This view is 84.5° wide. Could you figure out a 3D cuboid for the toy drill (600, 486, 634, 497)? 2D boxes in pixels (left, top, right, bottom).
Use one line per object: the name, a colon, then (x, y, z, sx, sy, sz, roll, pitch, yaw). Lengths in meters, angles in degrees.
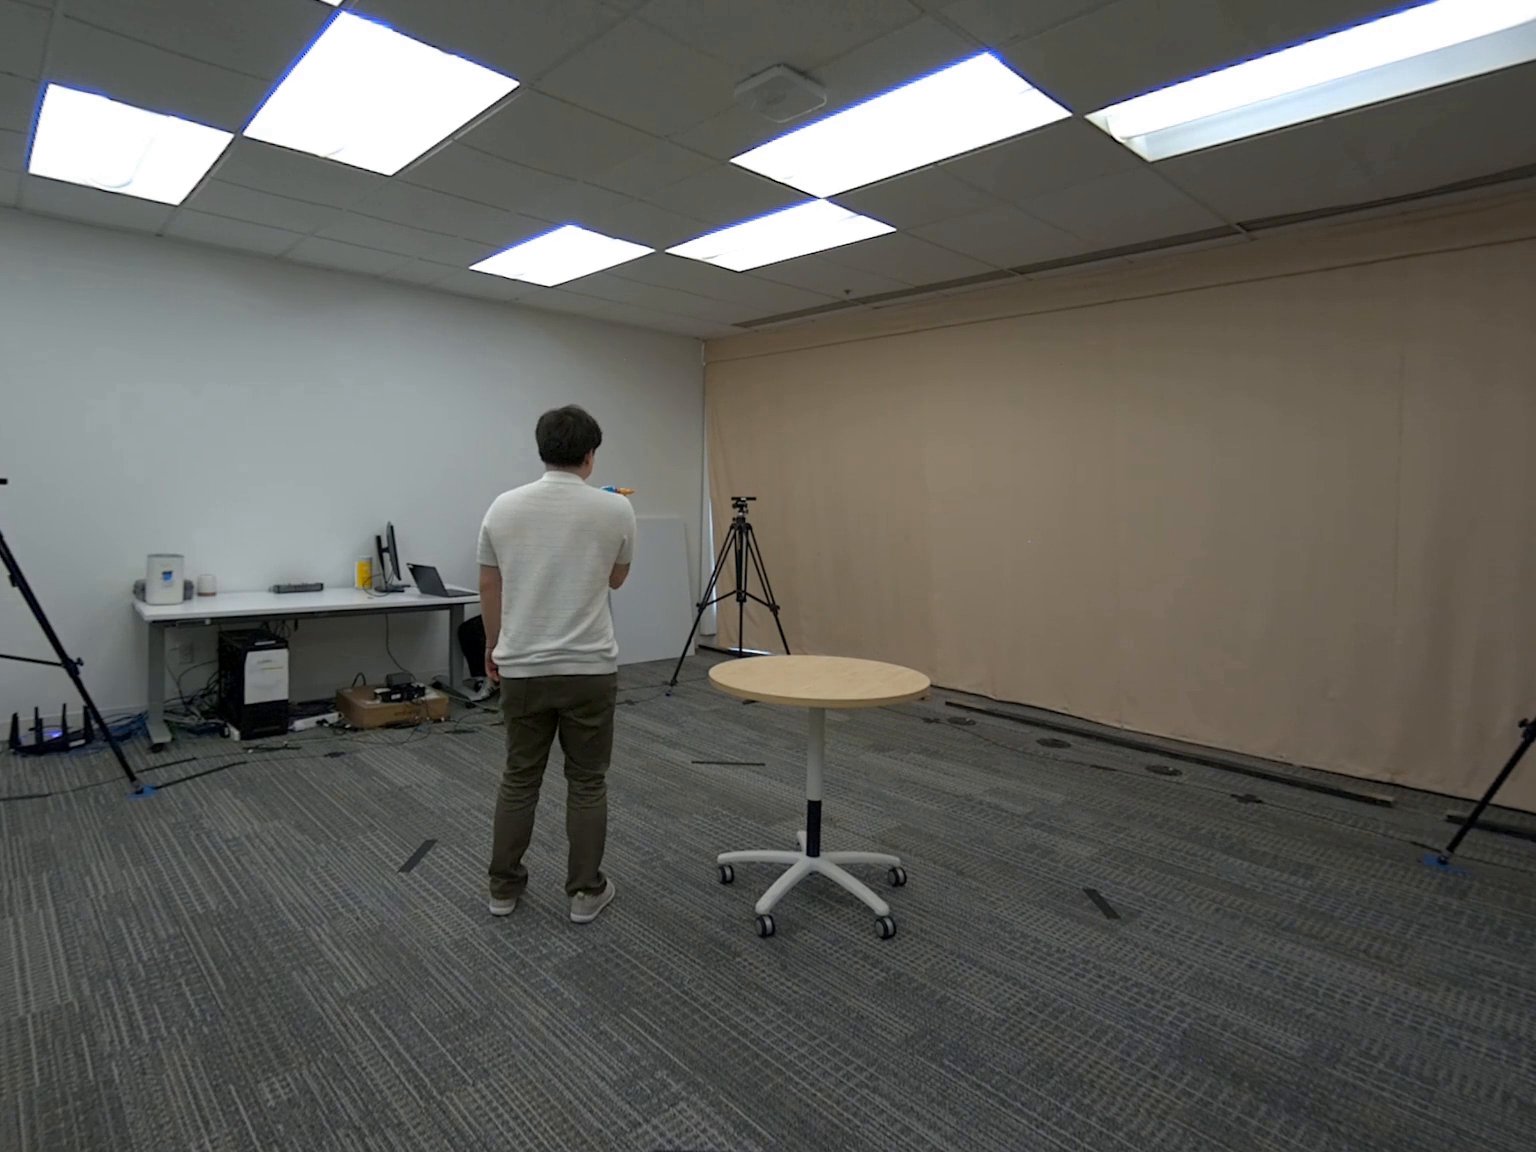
toy drill: (-0.577, -0.264, 3.123, 0.169, 0.145, 0.062, -8, 7, -9)
